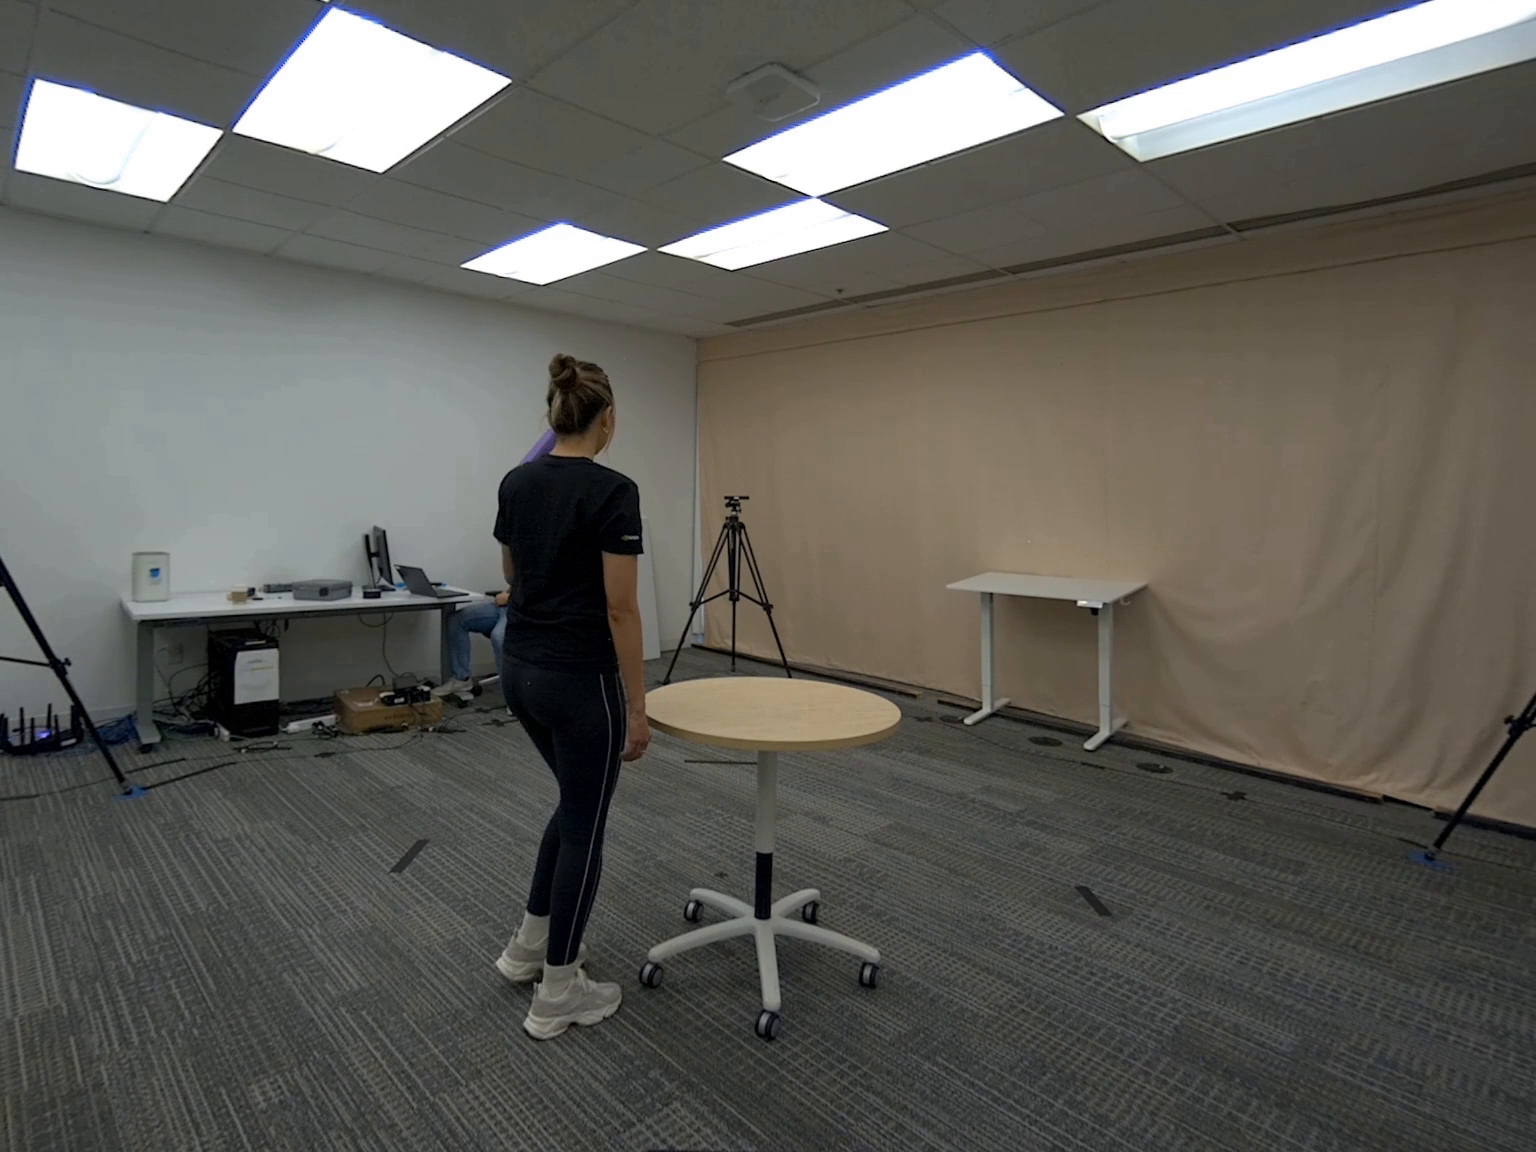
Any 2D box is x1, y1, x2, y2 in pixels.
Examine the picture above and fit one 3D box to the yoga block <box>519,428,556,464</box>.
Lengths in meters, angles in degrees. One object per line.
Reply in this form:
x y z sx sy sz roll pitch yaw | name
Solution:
-0.690 -0.338 2.682 0.079 0.230 0.144 19 -22 49 | yoga block
